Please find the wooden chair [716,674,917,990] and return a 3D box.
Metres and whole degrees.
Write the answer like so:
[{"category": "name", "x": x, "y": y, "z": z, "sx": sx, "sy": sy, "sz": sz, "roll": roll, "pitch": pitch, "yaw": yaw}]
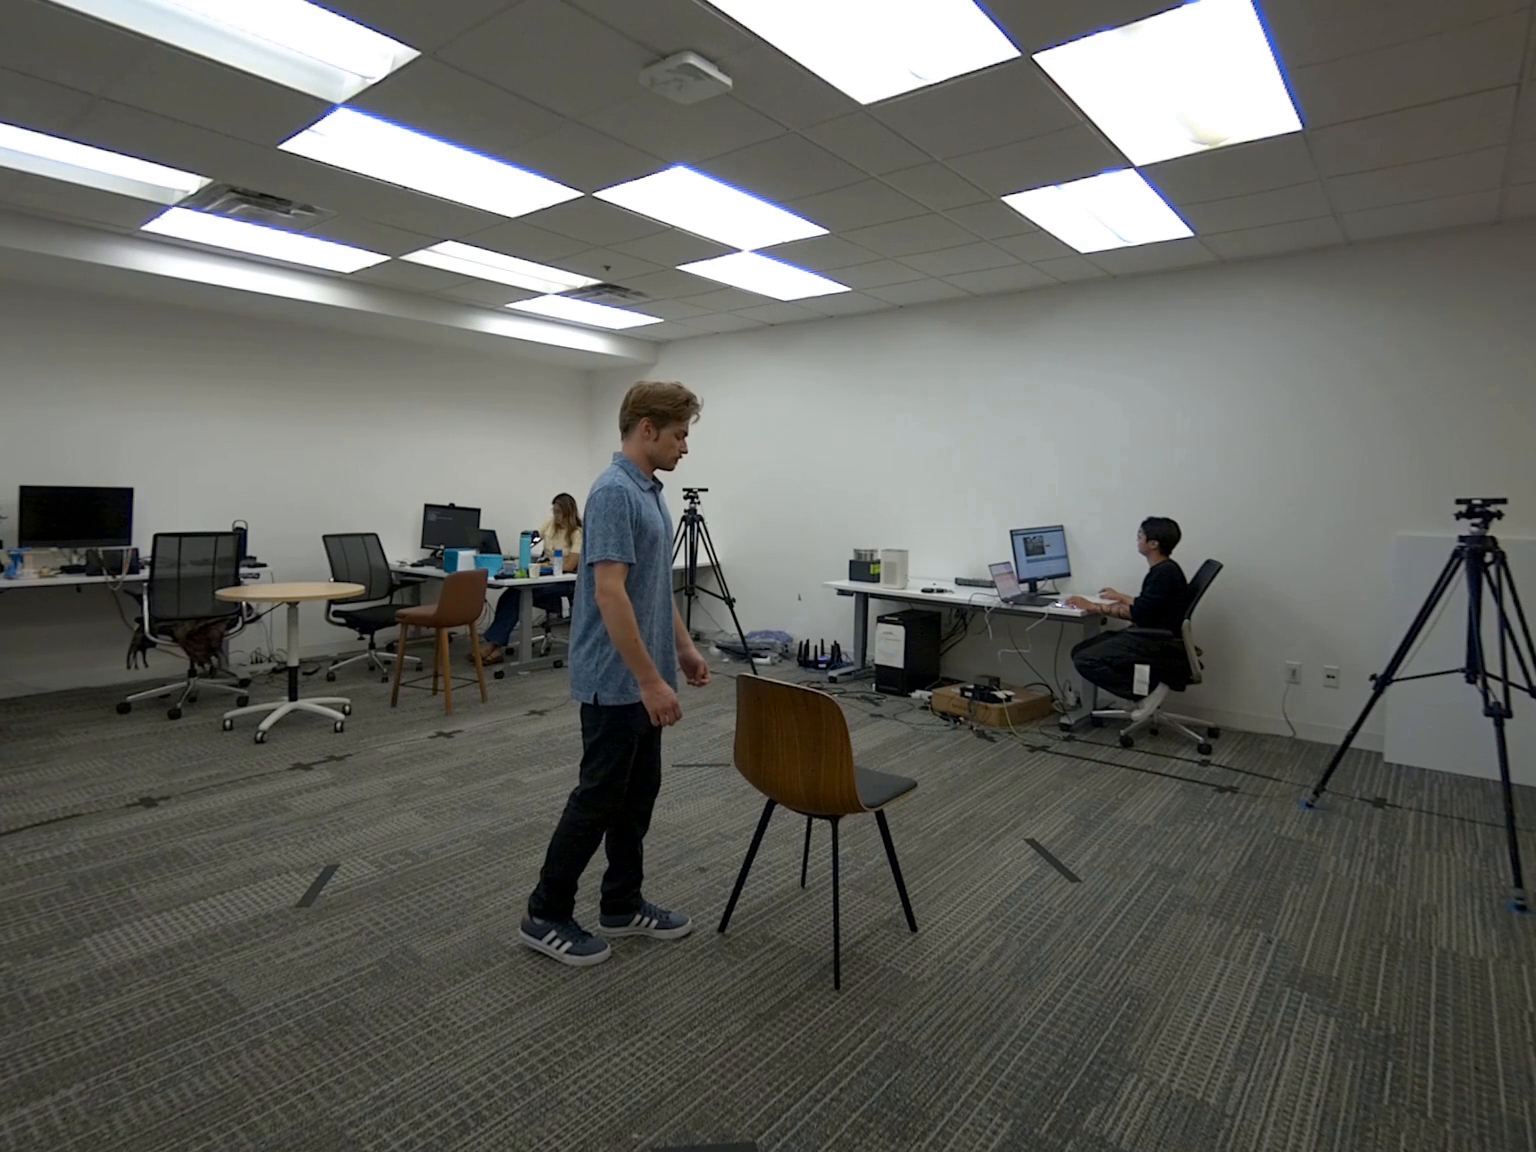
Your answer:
[{"category": "wooden chair", "x": 0.168, "y": 0.697, "z": 2.661, "sx": 0.494, "sy": 0.872, "sz": 0.509, "roll": 4, "pitch": 9, "yaw": 39}]
